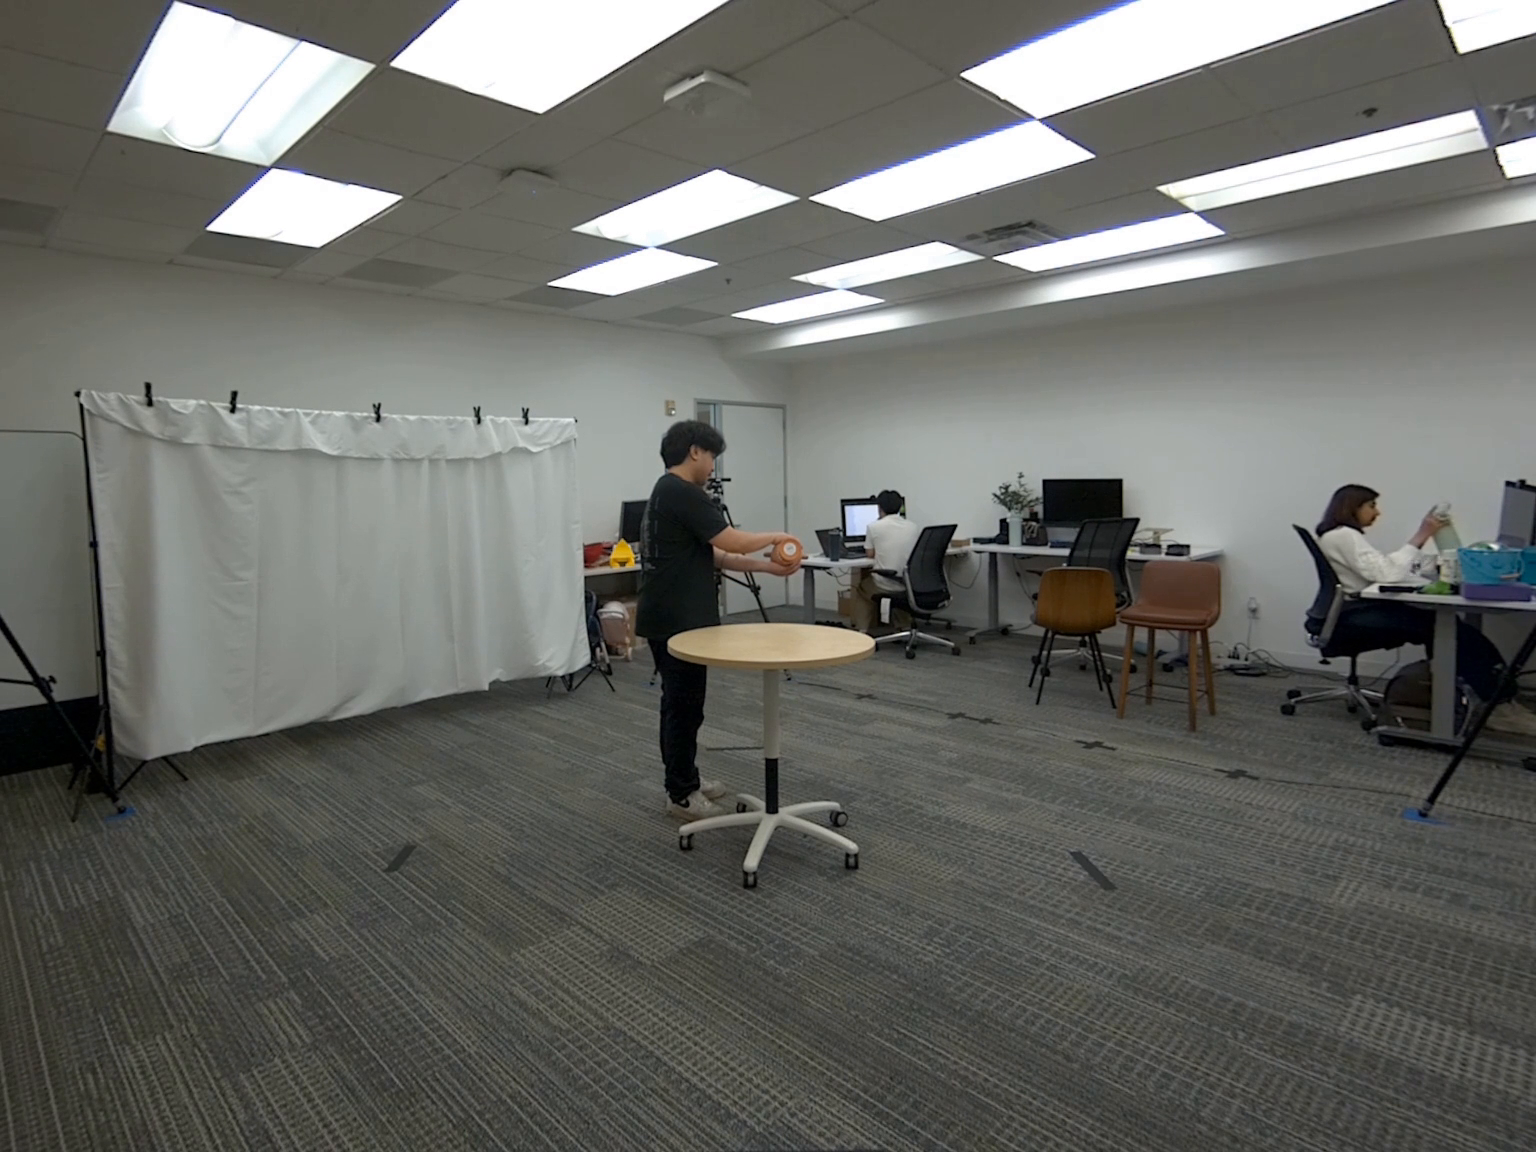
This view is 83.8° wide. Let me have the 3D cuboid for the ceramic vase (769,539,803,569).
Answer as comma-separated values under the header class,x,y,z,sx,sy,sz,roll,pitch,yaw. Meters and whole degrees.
class,x,y,z,sx,sy,sz,roll,pitch,yaw
ceramic vase,0.079,-0.095,3.689,0.158,0.136,0.218,-36,-7,-9
